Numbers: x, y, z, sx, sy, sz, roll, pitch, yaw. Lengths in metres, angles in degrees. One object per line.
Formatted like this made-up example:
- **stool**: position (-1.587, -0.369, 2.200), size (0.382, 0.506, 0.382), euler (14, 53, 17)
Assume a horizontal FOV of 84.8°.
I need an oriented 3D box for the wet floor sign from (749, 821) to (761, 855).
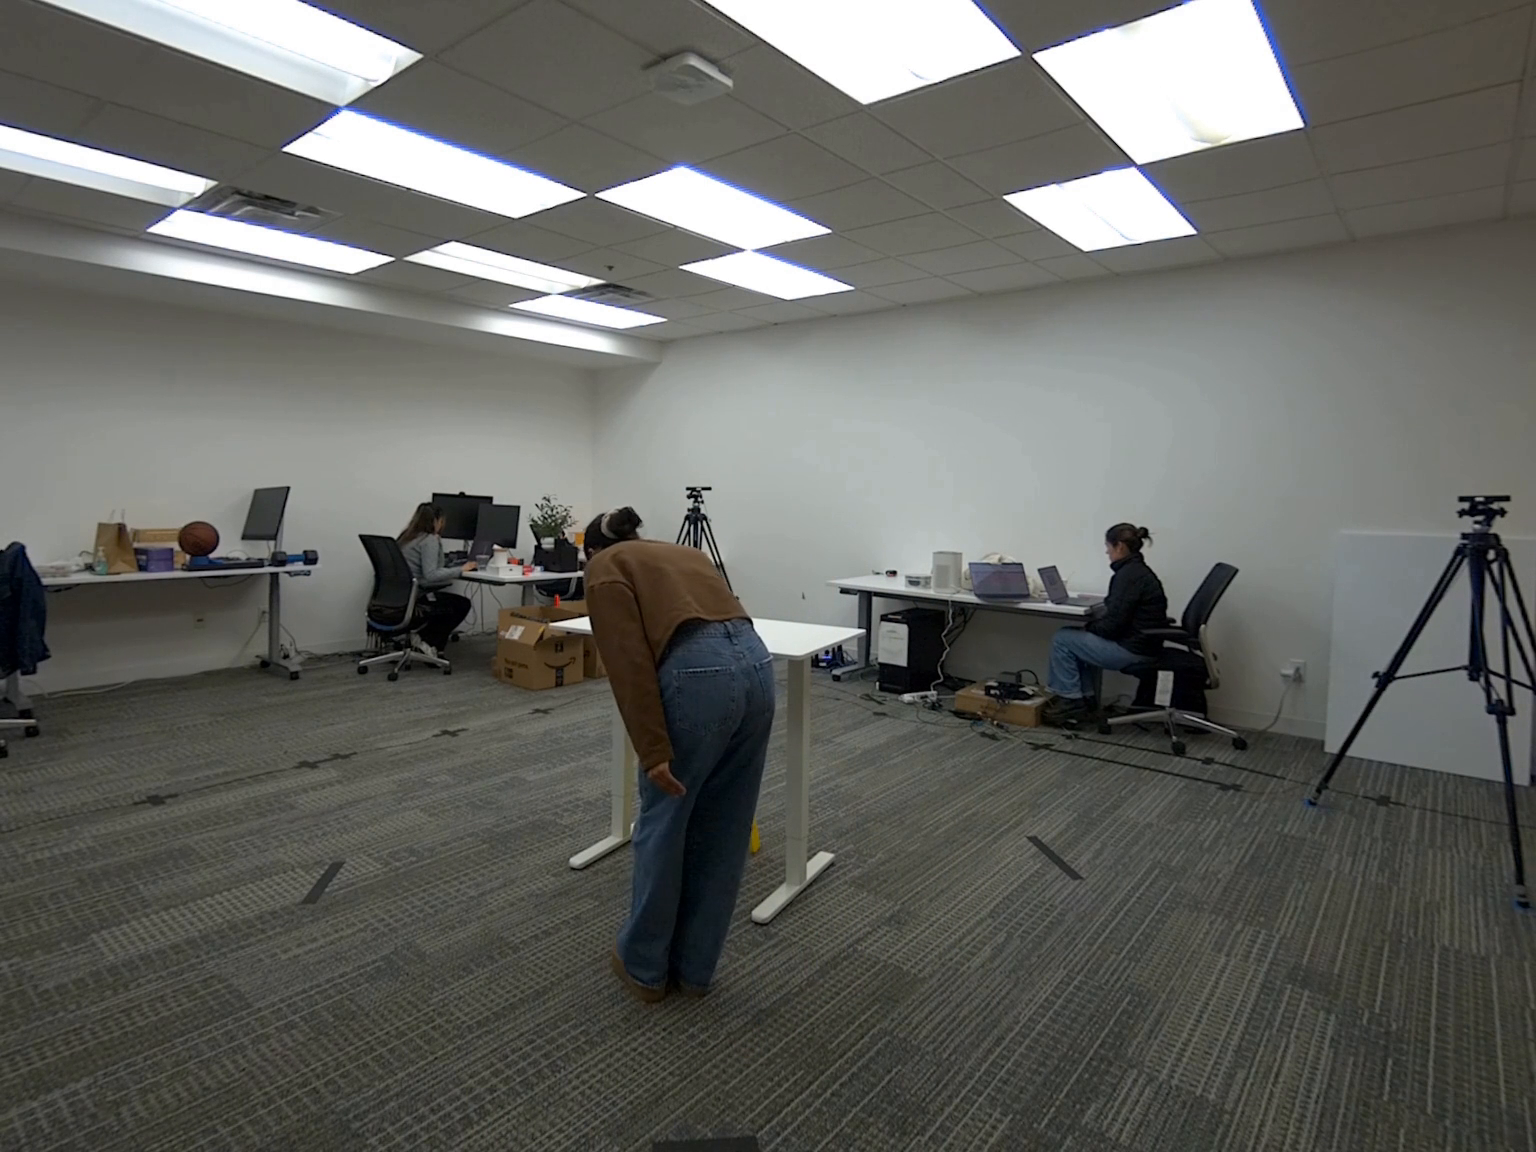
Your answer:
- **wet floor sign**: position (-0.202, 0.728, 3.214), size (0.296, 0.644, 0.277), euler (3, 4, 20)
